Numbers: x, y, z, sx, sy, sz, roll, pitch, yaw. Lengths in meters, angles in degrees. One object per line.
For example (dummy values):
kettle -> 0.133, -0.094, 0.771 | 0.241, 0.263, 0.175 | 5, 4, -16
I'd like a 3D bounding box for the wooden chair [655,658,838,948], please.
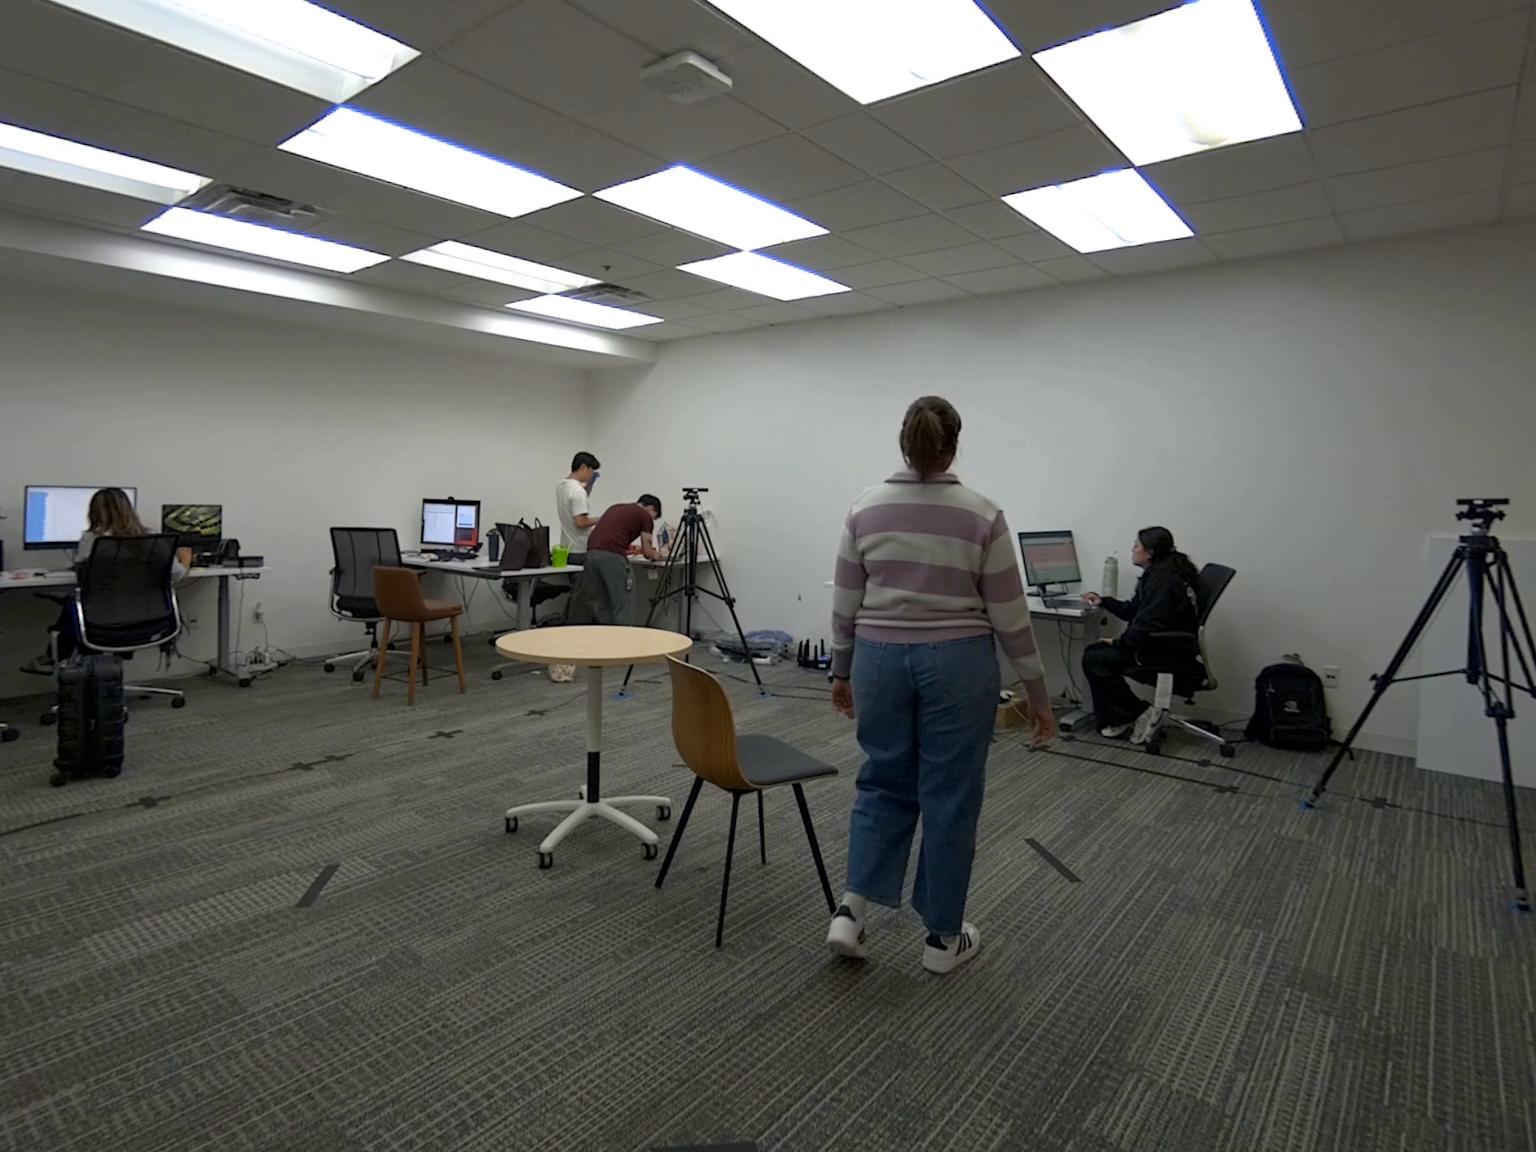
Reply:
wooden chair -> -0.075, 0.669, 2.855 | 0.510, 0.873, 0.493 | -5, 6, -31
